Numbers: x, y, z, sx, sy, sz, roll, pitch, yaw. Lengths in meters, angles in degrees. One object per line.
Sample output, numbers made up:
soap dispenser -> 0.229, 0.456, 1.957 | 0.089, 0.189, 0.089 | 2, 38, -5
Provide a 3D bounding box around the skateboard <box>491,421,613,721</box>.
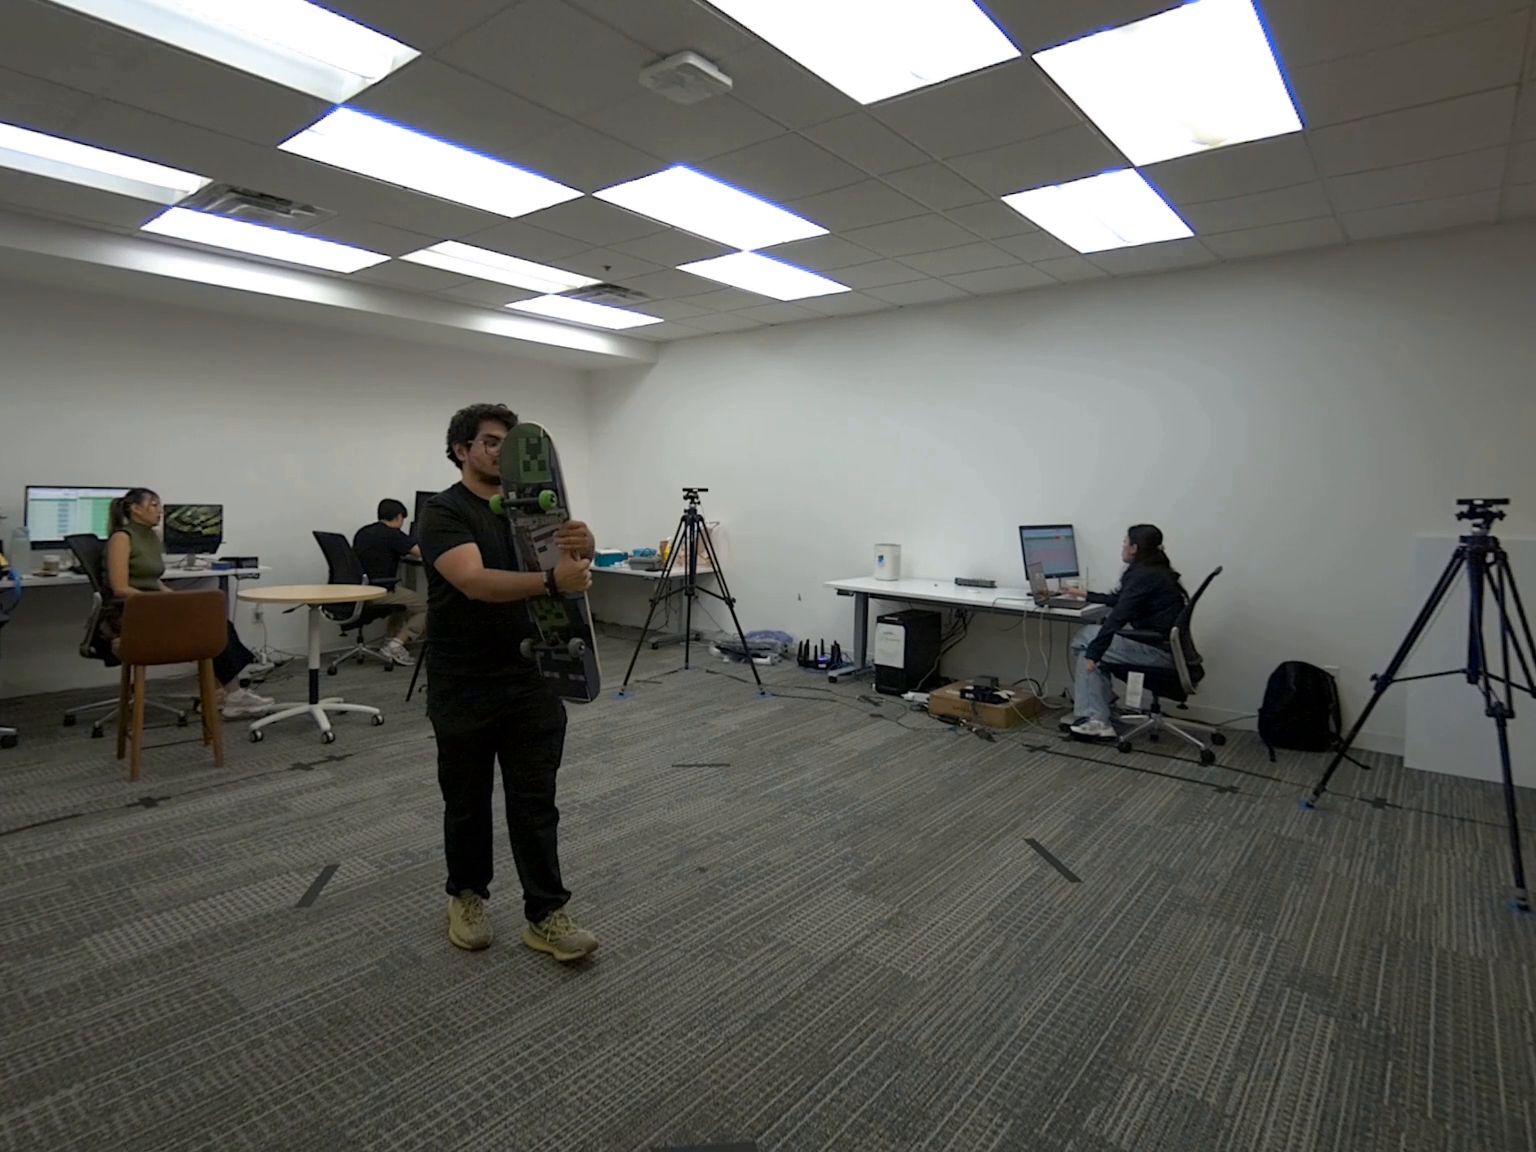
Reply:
skateboard -> -0.588, -0.007, 2.250 | 0.197, 0.776, 0.109 | -4, 11, 19
